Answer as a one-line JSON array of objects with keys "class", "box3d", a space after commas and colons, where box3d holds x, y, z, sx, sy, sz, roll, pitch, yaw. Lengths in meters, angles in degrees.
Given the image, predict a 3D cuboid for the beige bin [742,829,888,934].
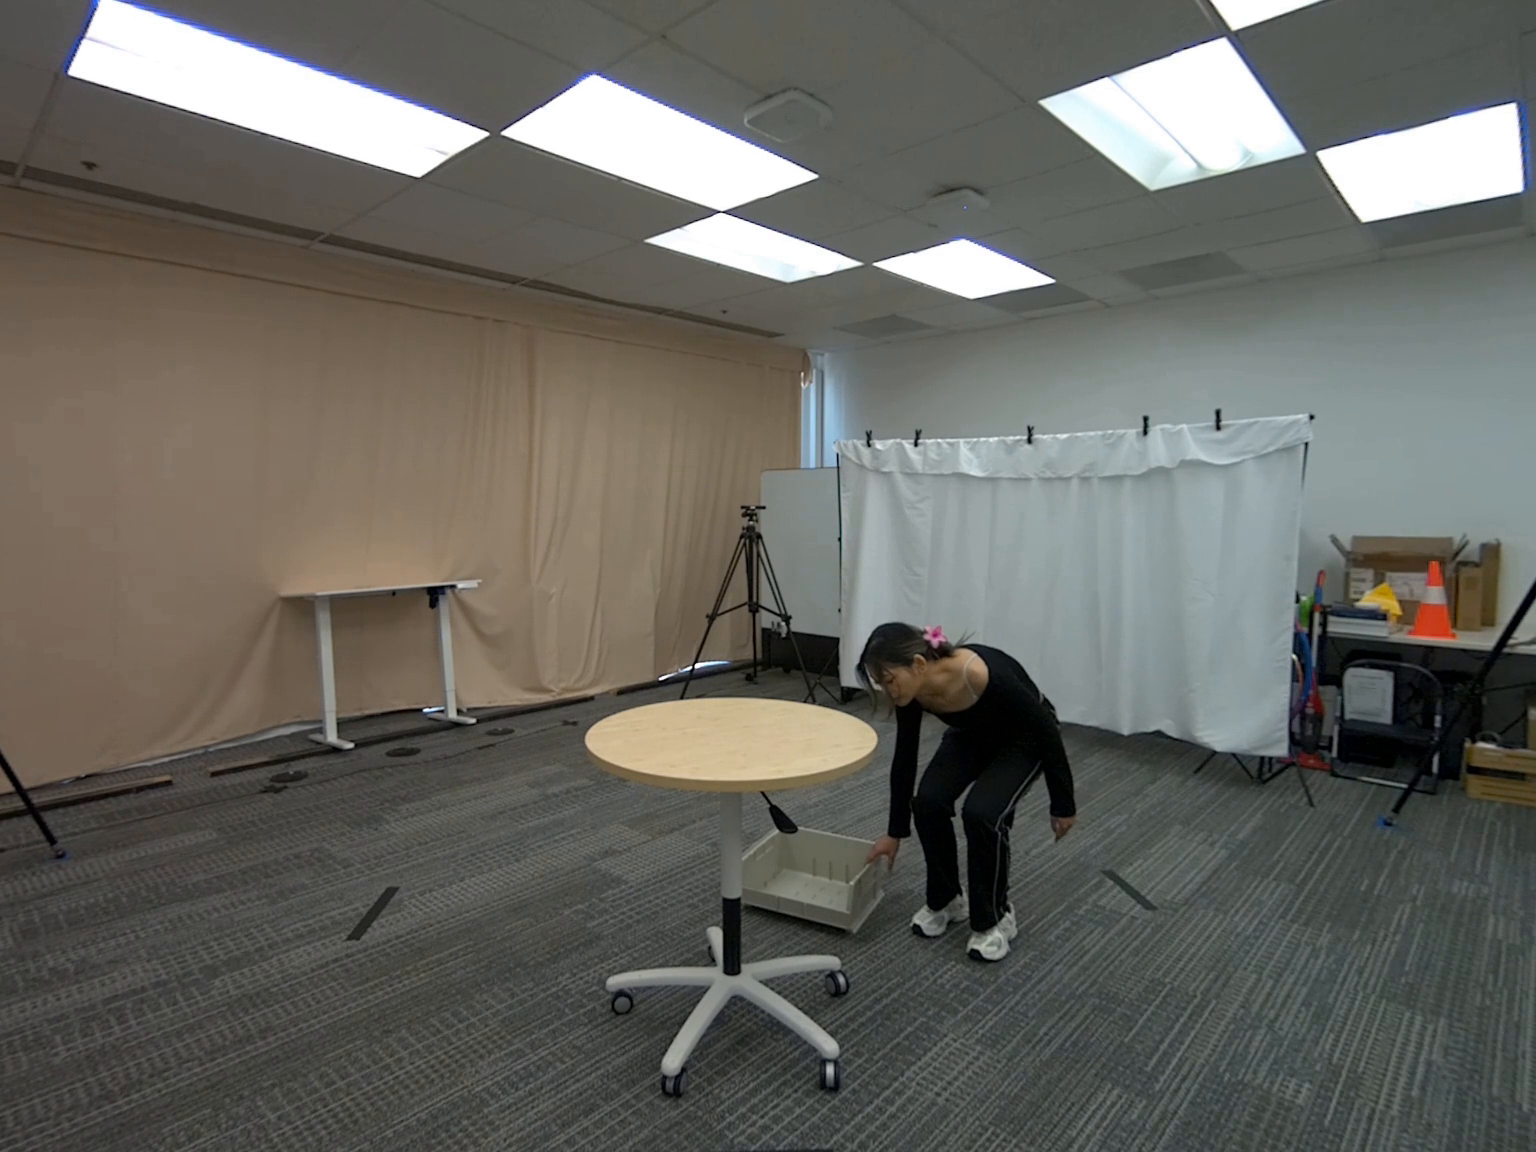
[{"class": "beige bin", "box3d": [0.161, 1.060, 2.948, 0.434, 0.188, 0.368, 1, 4, 28]}]
